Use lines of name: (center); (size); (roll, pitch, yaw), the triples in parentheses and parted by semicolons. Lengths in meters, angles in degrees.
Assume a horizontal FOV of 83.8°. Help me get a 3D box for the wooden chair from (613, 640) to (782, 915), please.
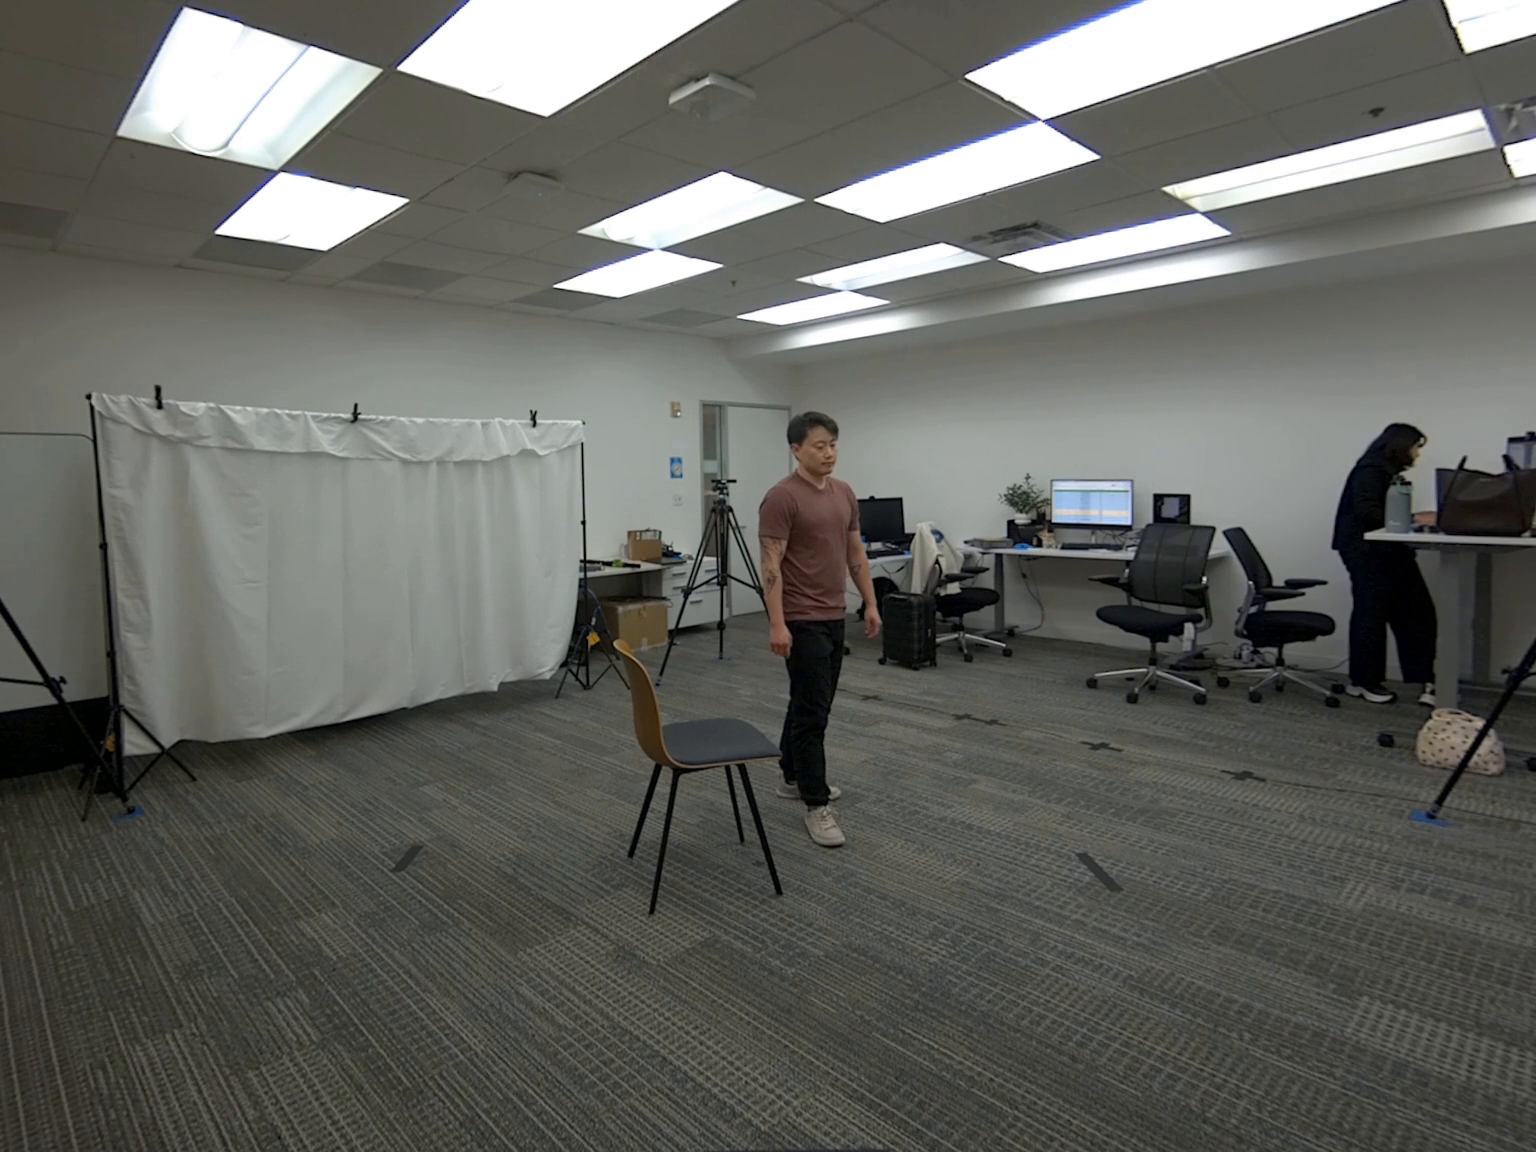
wooden chair: (-0.238, 0.637, 2.996); (0.516, 0.873, 0.487); (-6, 5, -16)
